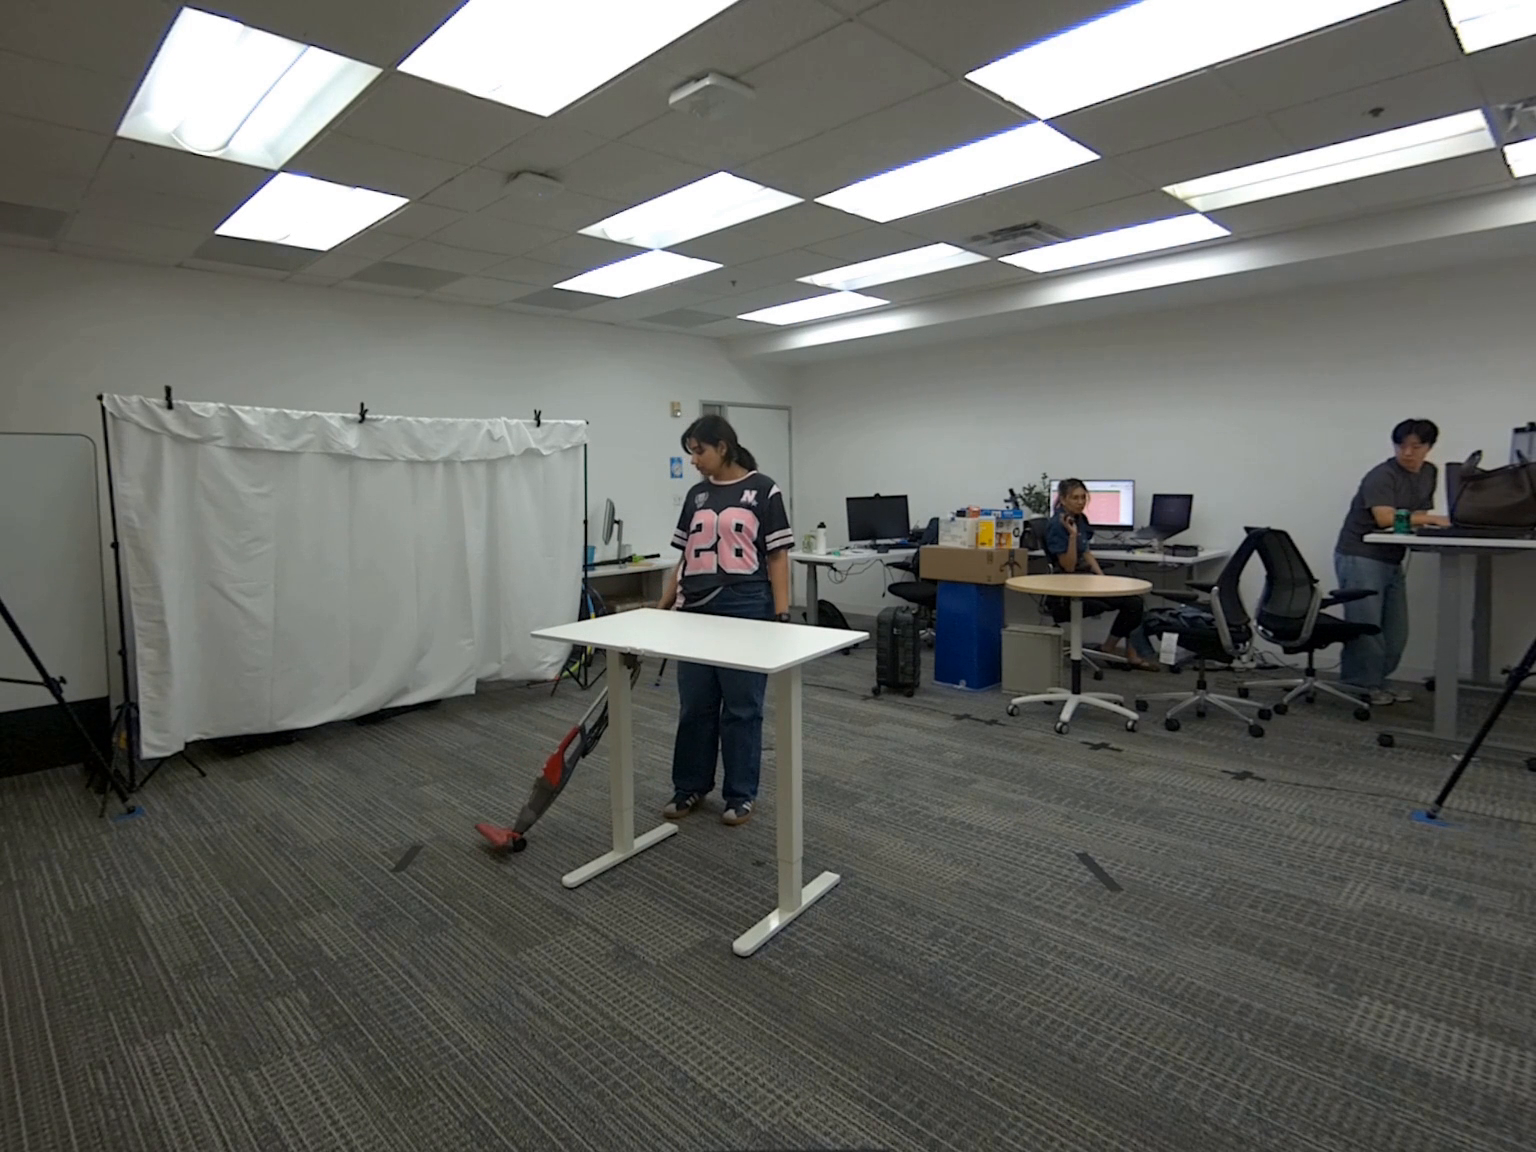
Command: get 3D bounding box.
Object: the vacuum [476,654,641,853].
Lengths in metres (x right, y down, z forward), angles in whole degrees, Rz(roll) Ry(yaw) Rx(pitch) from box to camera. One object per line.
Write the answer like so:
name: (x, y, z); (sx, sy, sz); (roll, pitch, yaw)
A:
vacuum: (-0.738, 0.642, 3.487); (0.261, 0.139, 1.052); (11, 55, 44)
